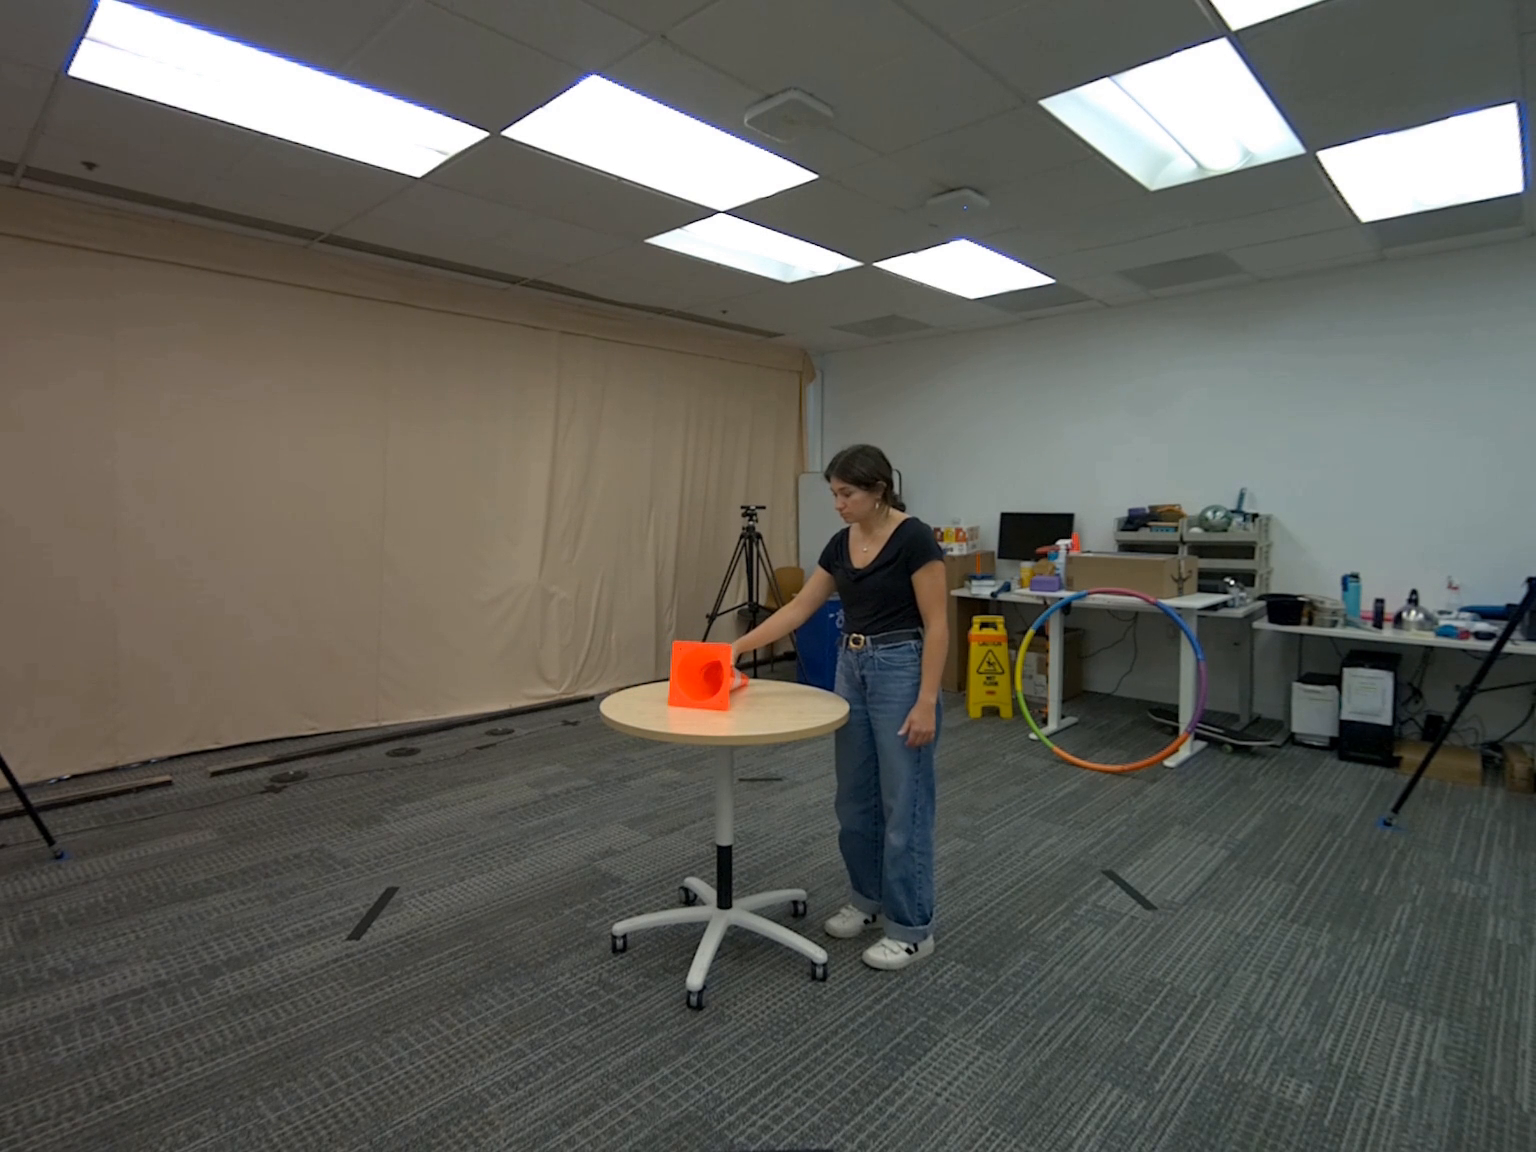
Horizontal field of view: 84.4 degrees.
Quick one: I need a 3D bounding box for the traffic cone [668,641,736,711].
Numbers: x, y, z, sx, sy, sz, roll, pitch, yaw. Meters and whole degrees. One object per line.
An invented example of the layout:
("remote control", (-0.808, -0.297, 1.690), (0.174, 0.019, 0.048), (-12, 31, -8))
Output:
("traffic cone", (-0.130, 0.339, 2.701), (0.208, 0.206, 0.373), (0, -10, 22))
